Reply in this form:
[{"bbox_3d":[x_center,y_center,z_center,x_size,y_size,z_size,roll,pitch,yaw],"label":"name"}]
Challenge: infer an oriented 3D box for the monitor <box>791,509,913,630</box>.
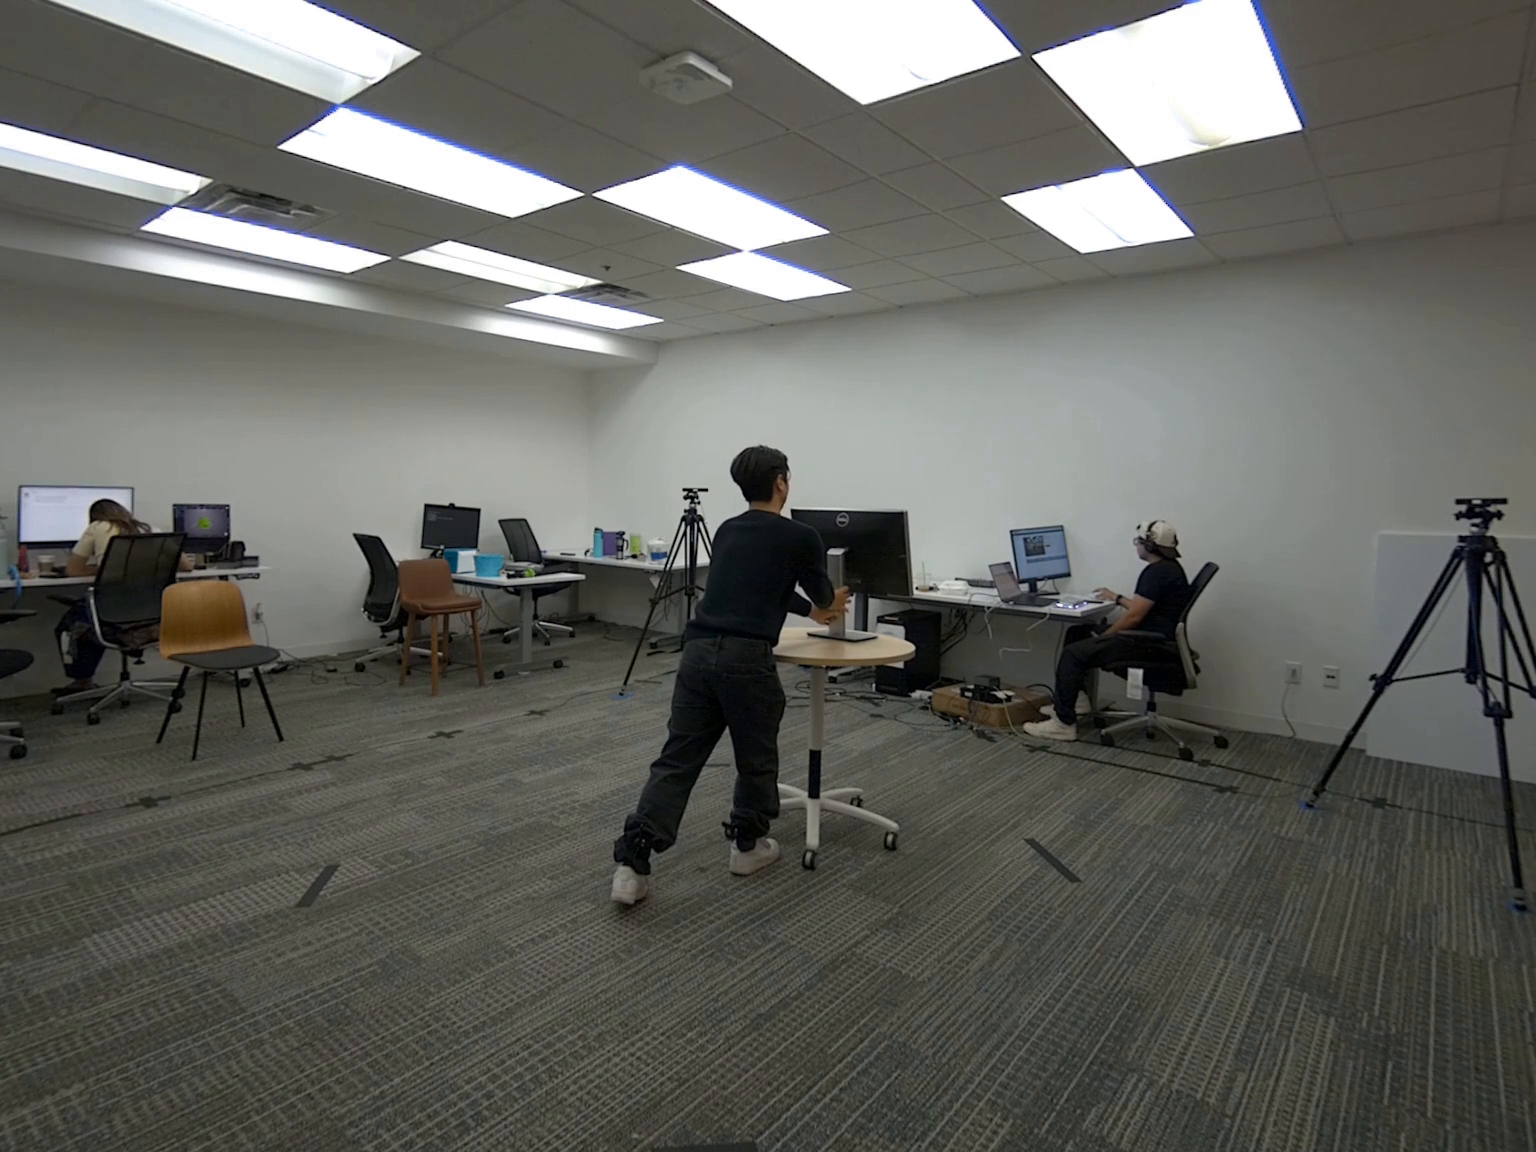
[{"bbox_3d":[0.321,-0.019,3.599,0.547,0.517,0.169,2,-2,37],"label":"monitor"}]
